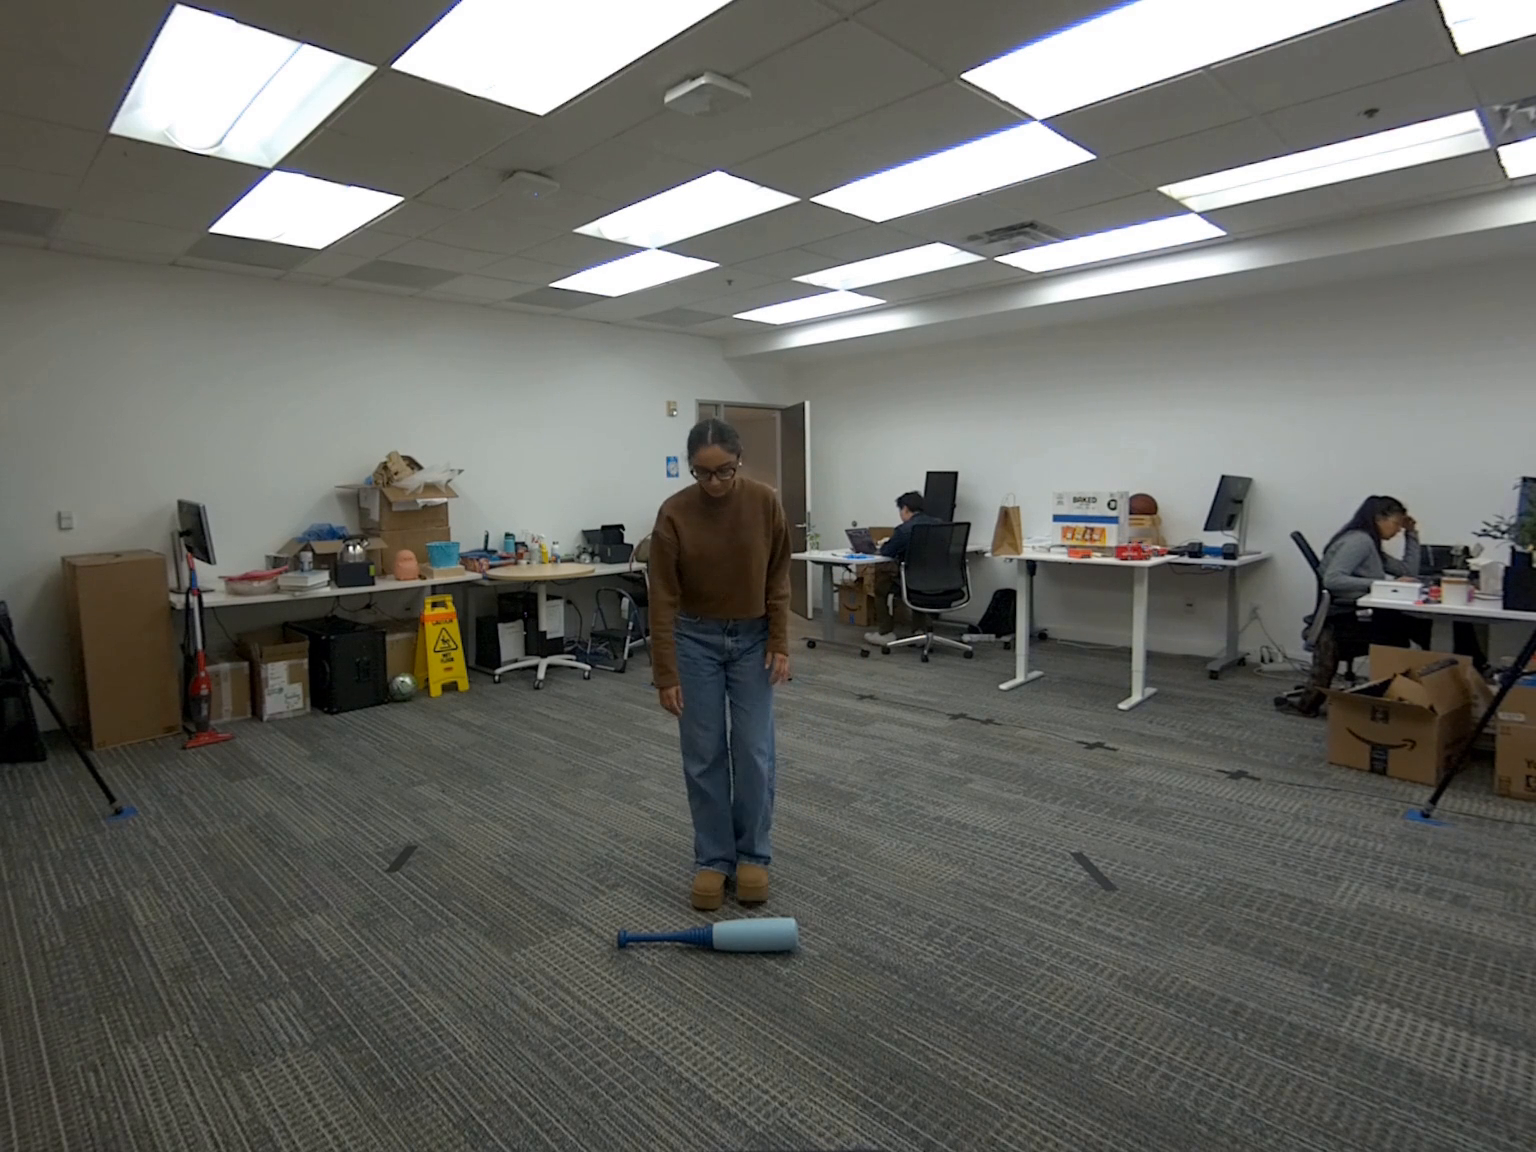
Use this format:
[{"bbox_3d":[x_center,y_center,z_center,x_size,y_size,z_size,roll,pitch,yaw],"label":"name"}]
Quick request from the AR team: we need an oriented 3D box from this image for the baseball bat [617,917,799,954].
[{"bbox_3d":[-0.179,1.081,2.549,0.545,0.089,0.089,-4,5,4],"label":"baseball bat"}]
